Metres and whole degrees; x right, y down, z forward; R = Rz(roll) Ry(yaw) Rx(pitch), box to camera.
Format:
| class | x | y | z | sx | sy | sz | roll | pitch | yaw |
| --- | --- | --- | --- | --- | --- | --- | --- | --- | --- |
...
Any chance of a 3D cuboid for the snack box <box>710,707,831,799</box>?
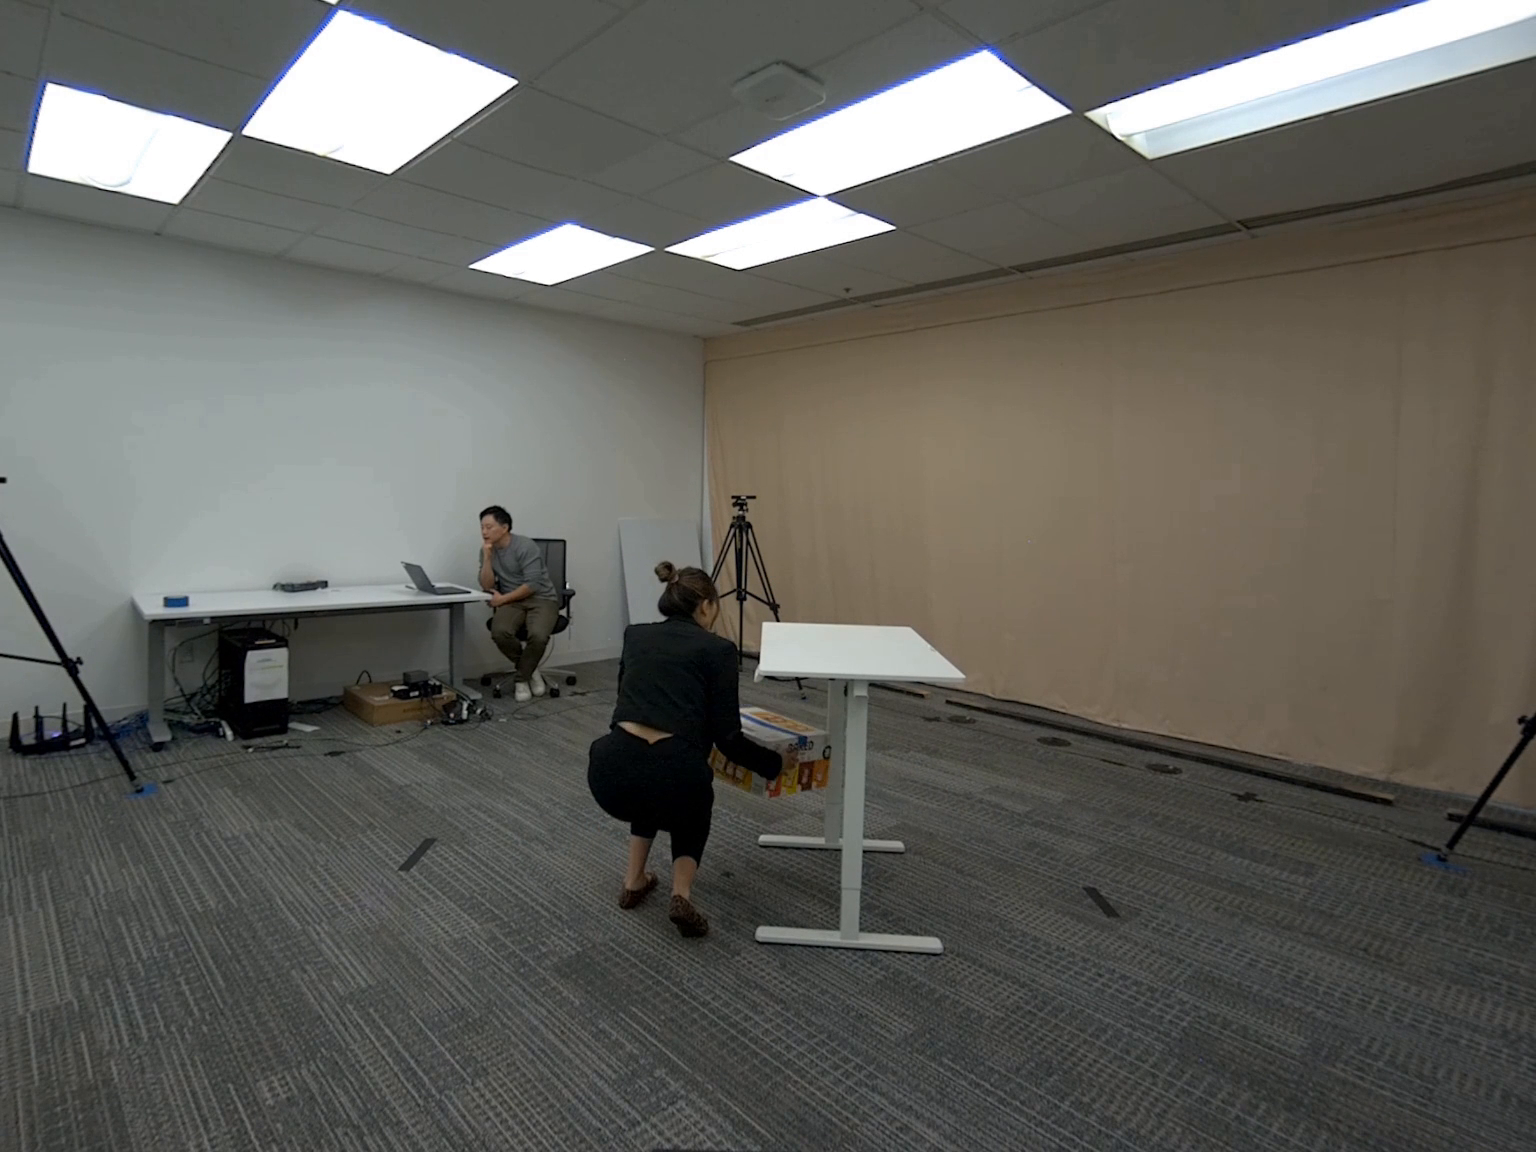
| class | x | y | z | sx | sy | sz | roll | pitch | yaw |
| --- | --- | --- | --- | --- | --- | --- | --- | --- | --- |
| snack box | -0.042 | 0.652 | 3.139 | 0.416 | 0.205 | 0.331 | 10 | 3 | 44 |
